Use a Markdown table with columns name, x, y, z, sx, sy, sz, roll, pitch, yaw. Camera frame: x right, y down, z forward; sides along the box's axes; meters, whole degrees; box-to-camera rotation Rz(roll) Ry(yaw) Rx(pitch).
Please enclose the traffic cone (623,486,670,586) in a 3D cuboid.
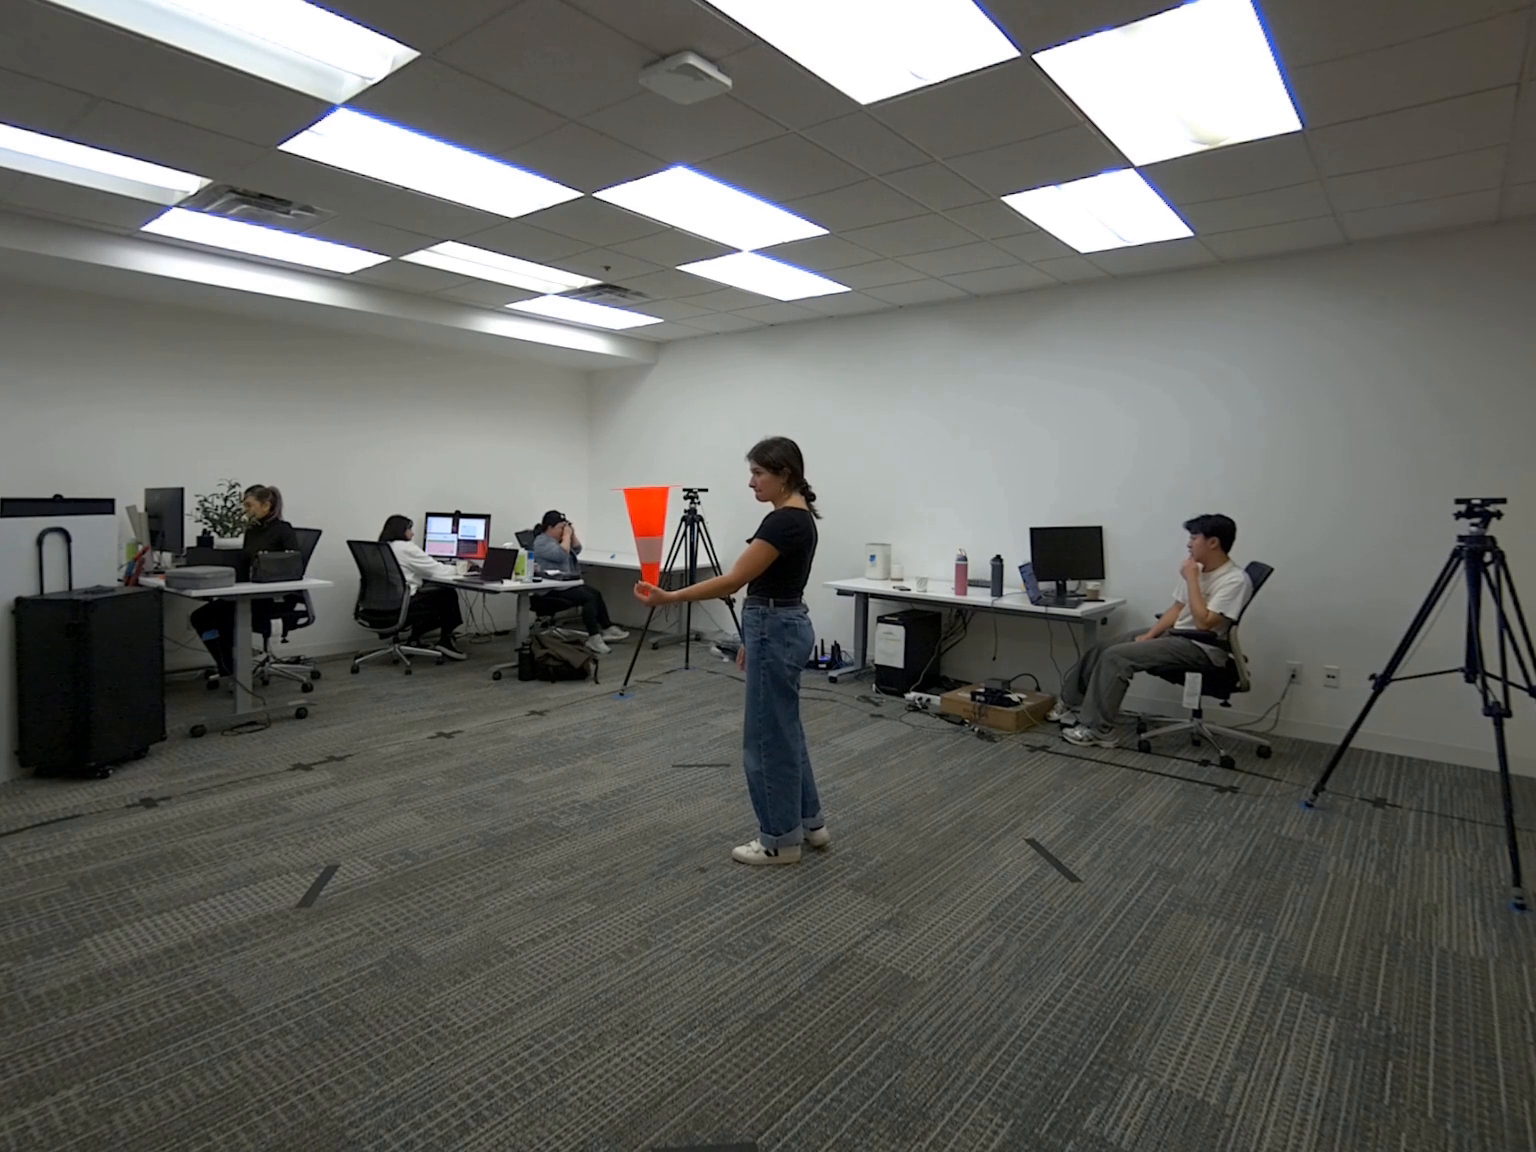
| name | x | y | z | sx | sy | sz | roll | pitch | yaw |
| --- | --- | --- | --- | --- | --- | --- | --- | --- | --- |
| traffic cone | -0.416 | -0.118 | 2.916 | 0.198 | 0.382 | 0.211 | -2 | 6 | -27 |
